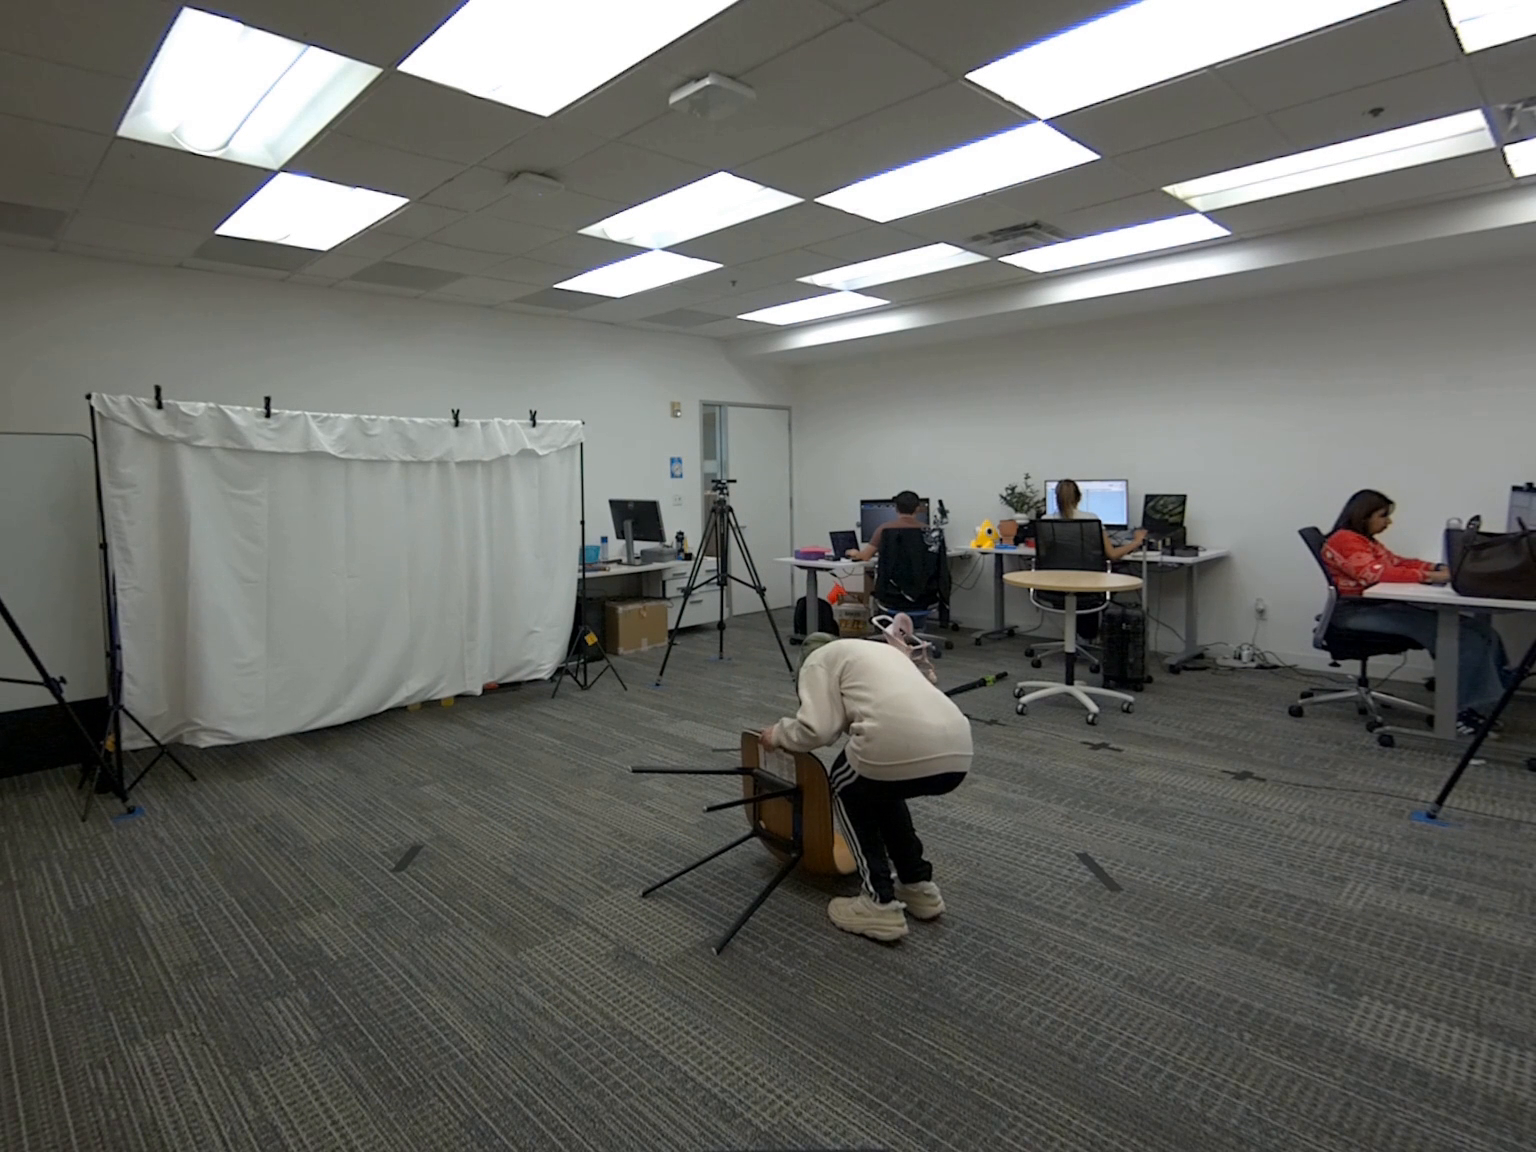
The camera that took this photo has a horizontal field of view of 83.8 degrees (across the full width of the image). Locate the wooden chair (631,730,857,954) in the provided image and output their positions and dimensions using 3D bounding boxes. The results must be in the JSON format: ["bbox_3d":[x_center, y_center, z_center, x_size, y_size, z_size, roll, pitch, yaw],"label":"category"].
[{"bbox_3d":[0.024,0.807,2.916,0.855,0.521,0.492,-4,5,-37],"label":"wooden chair"}]
